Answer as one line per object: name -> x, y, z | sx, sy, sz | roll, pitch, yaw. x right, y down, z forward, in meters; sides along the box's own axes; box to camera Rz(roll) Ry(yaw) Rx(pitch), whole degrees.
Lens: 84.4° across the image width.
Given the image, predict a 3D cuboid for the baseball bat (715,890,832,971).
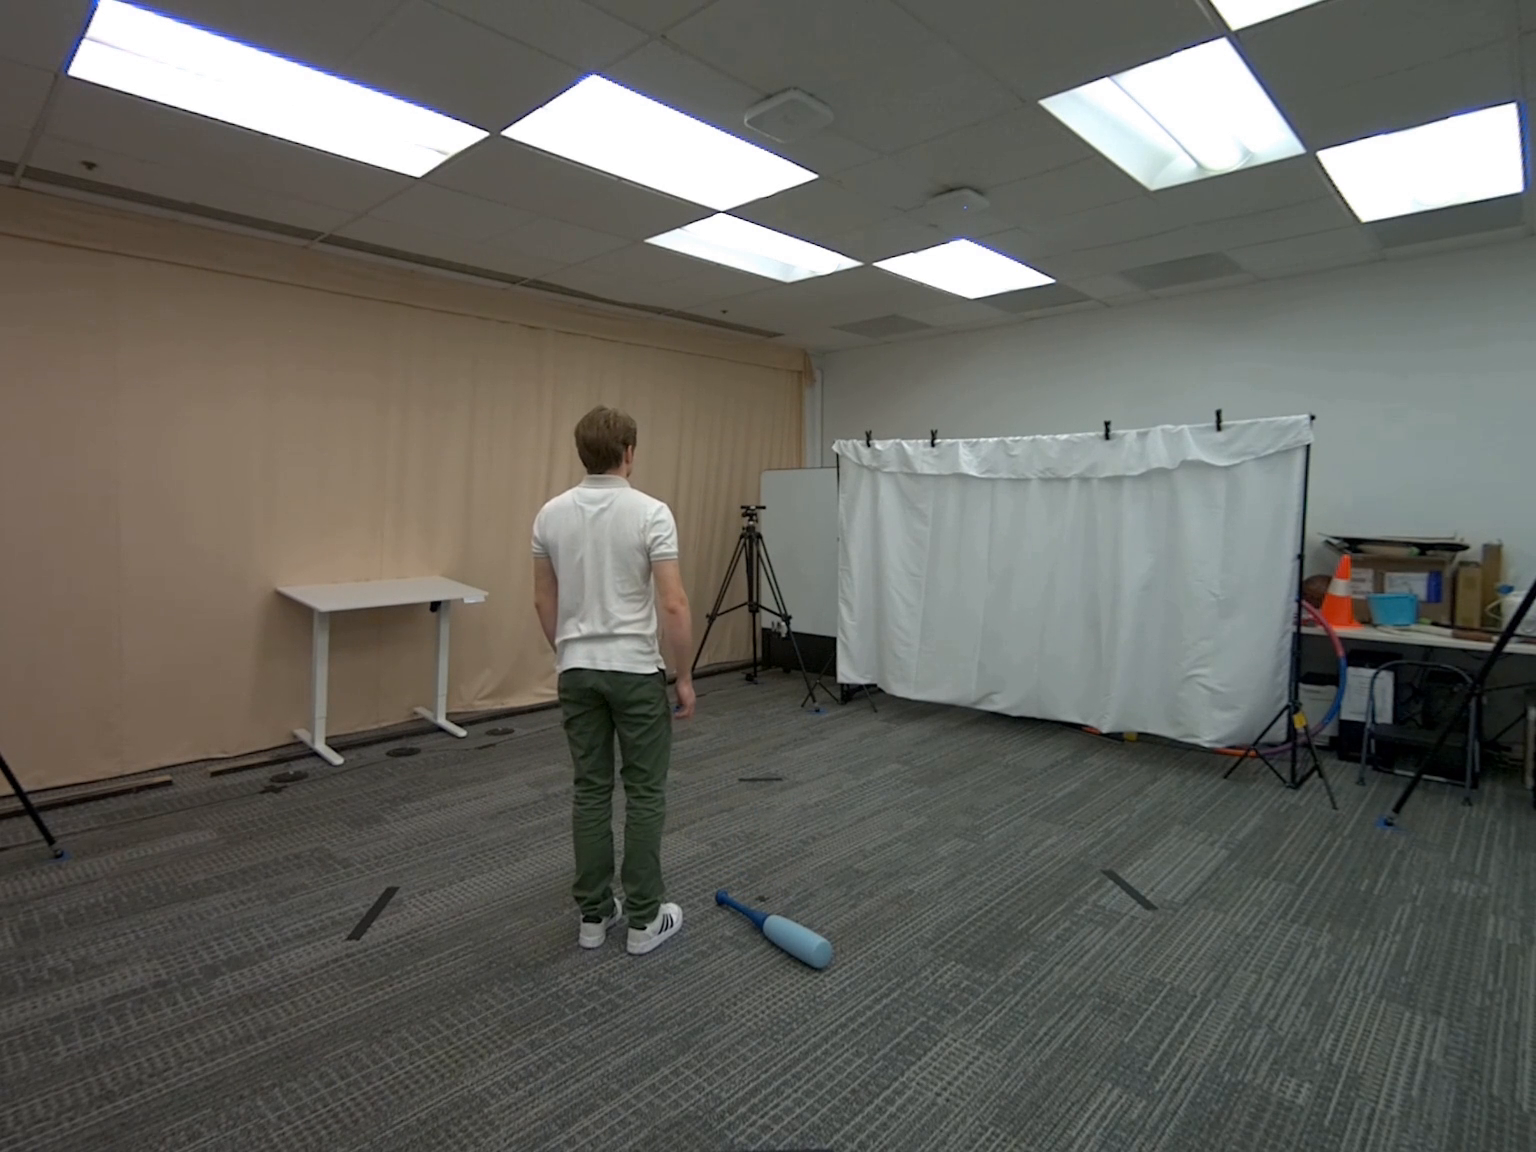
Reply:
baseball bat -> -0.004, 1.129, 2.727 | 0.086, 0.089, 0.560 | -3, 2, -37
